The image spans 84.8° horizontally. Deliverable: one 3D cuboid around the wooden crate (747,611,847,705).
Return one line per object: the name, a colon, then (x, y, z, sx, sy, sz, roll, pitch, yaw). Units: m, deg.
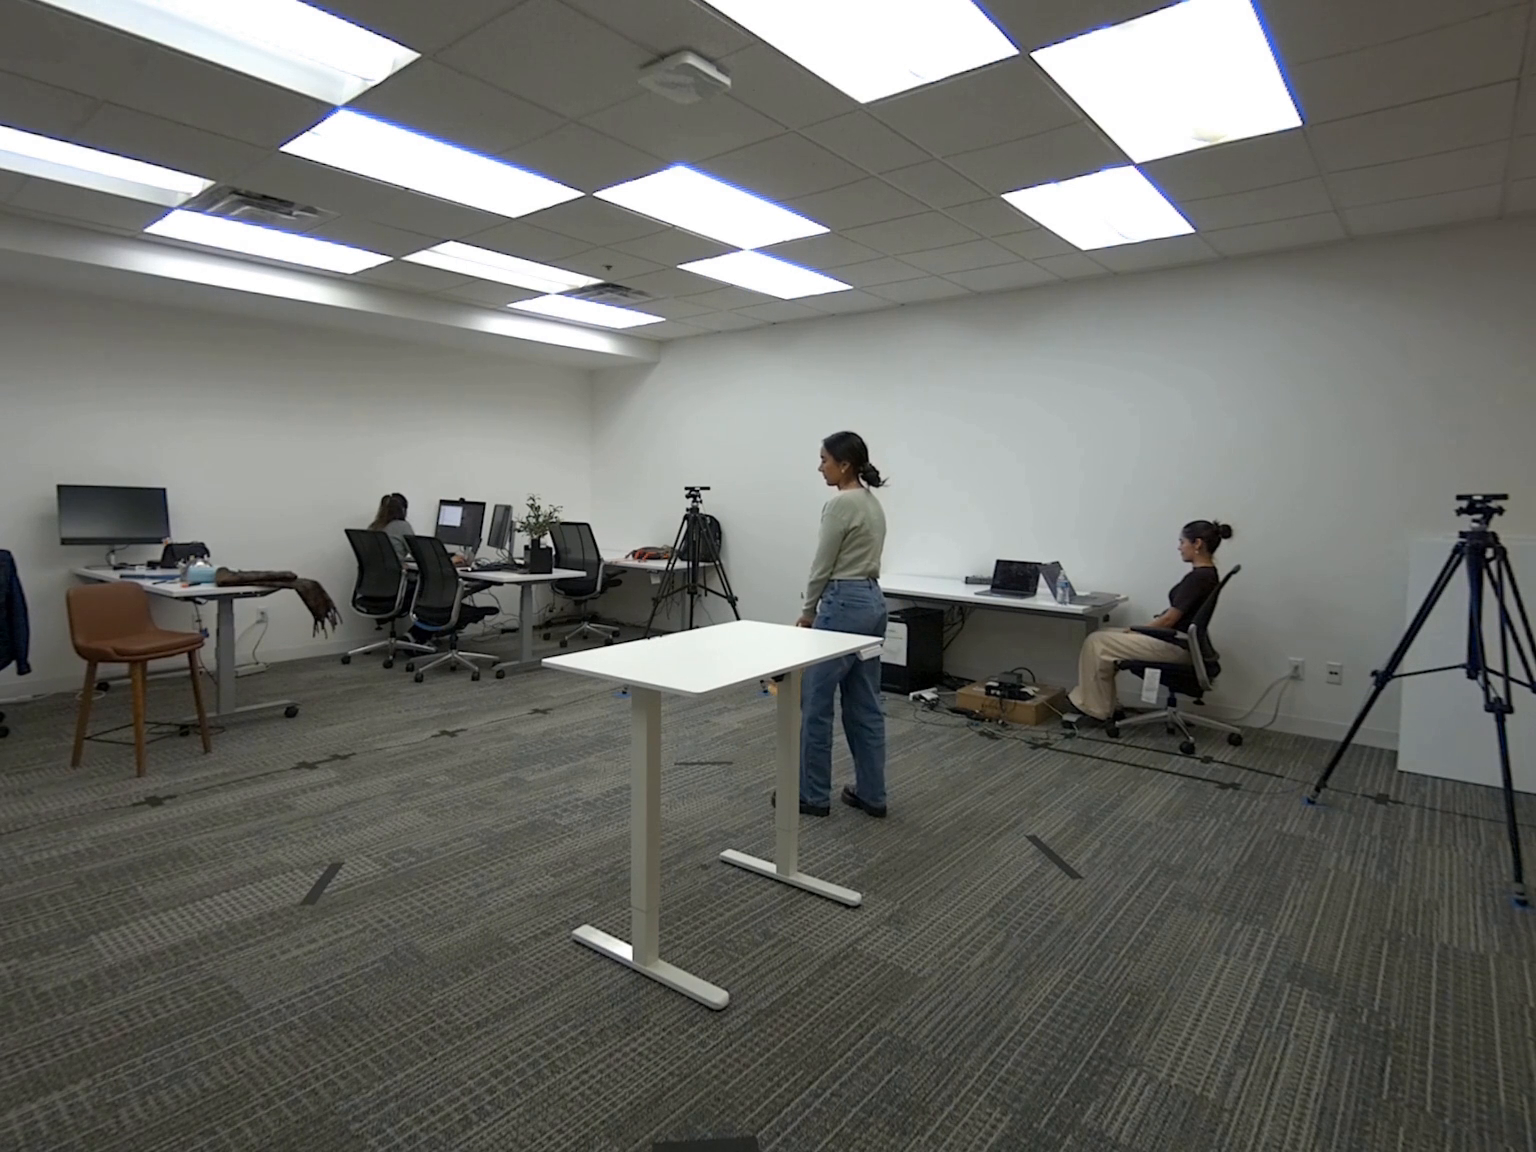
wooden crate: (0.124, 0.375, 3.834, 0.266, 0.323, 0.312, 11, 6, -26)
